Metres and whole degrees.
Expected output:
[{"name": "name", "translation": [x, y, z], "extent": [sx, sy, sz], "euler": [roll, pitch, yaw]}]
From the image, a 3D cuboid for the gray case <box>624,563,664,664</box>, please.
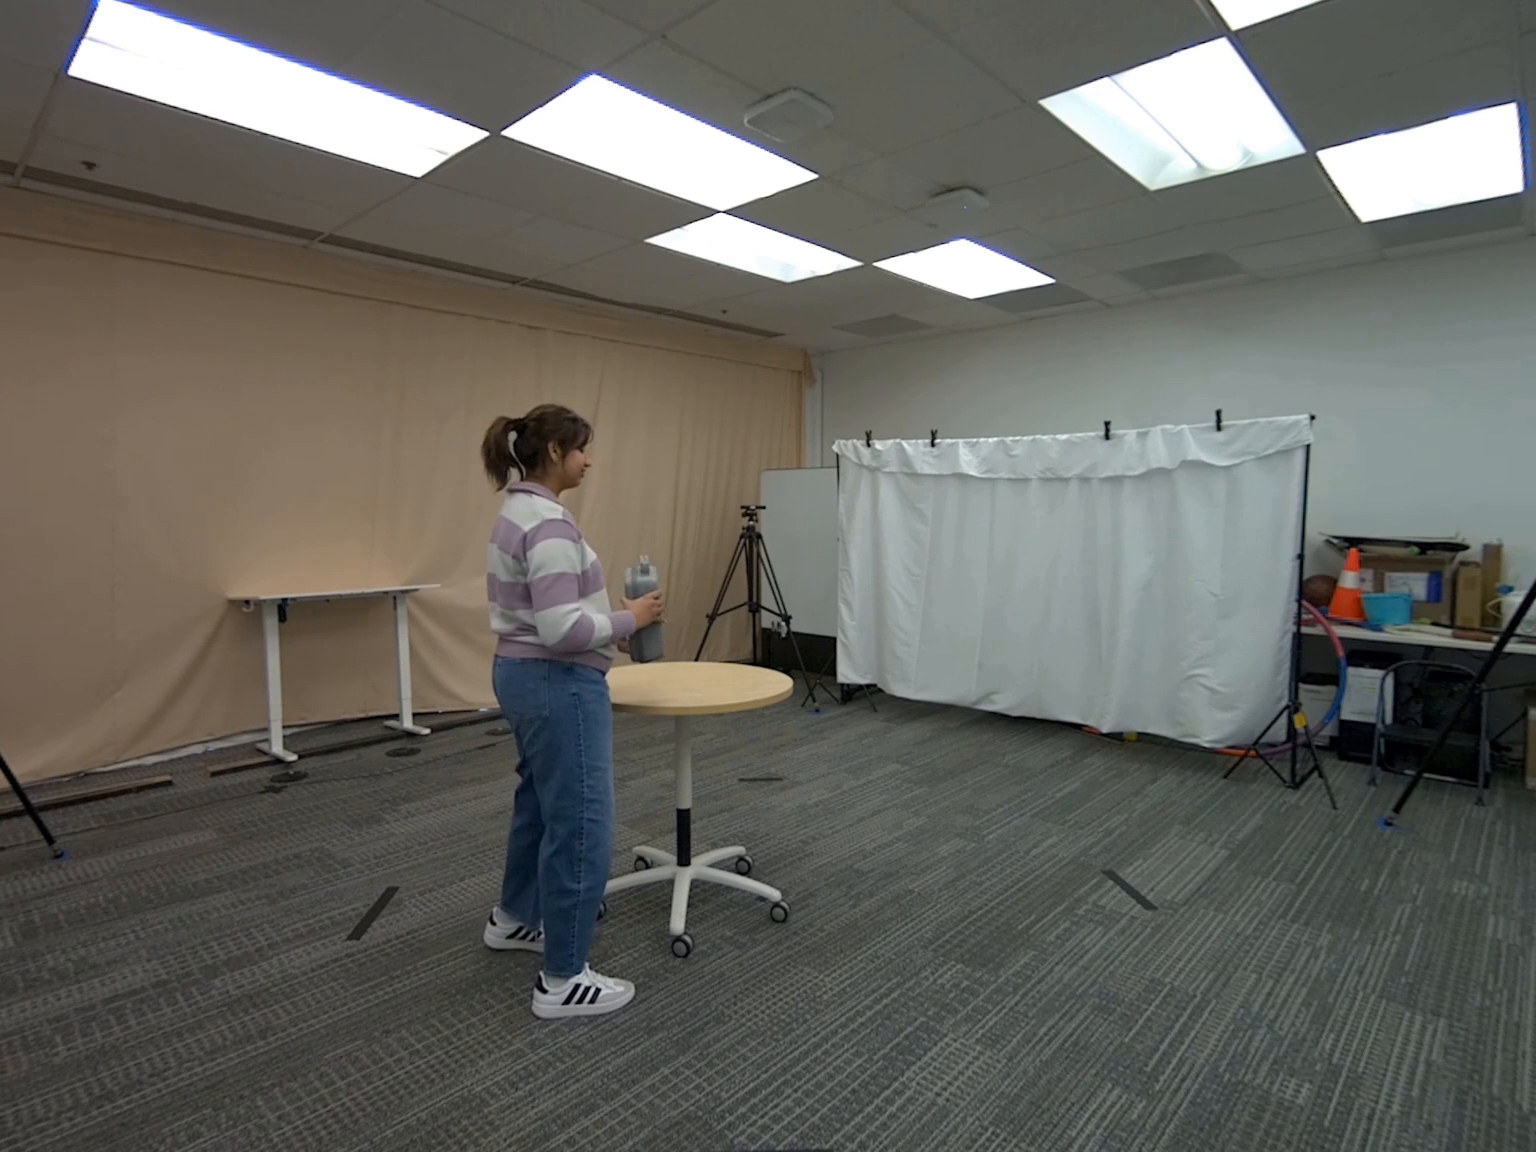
[{"name": "gray case", "translation": [-0.381, 0.104, 2.546], "extent": [0.103, 0.259, 0.261], "euler": [-2, 11, -10]}]
